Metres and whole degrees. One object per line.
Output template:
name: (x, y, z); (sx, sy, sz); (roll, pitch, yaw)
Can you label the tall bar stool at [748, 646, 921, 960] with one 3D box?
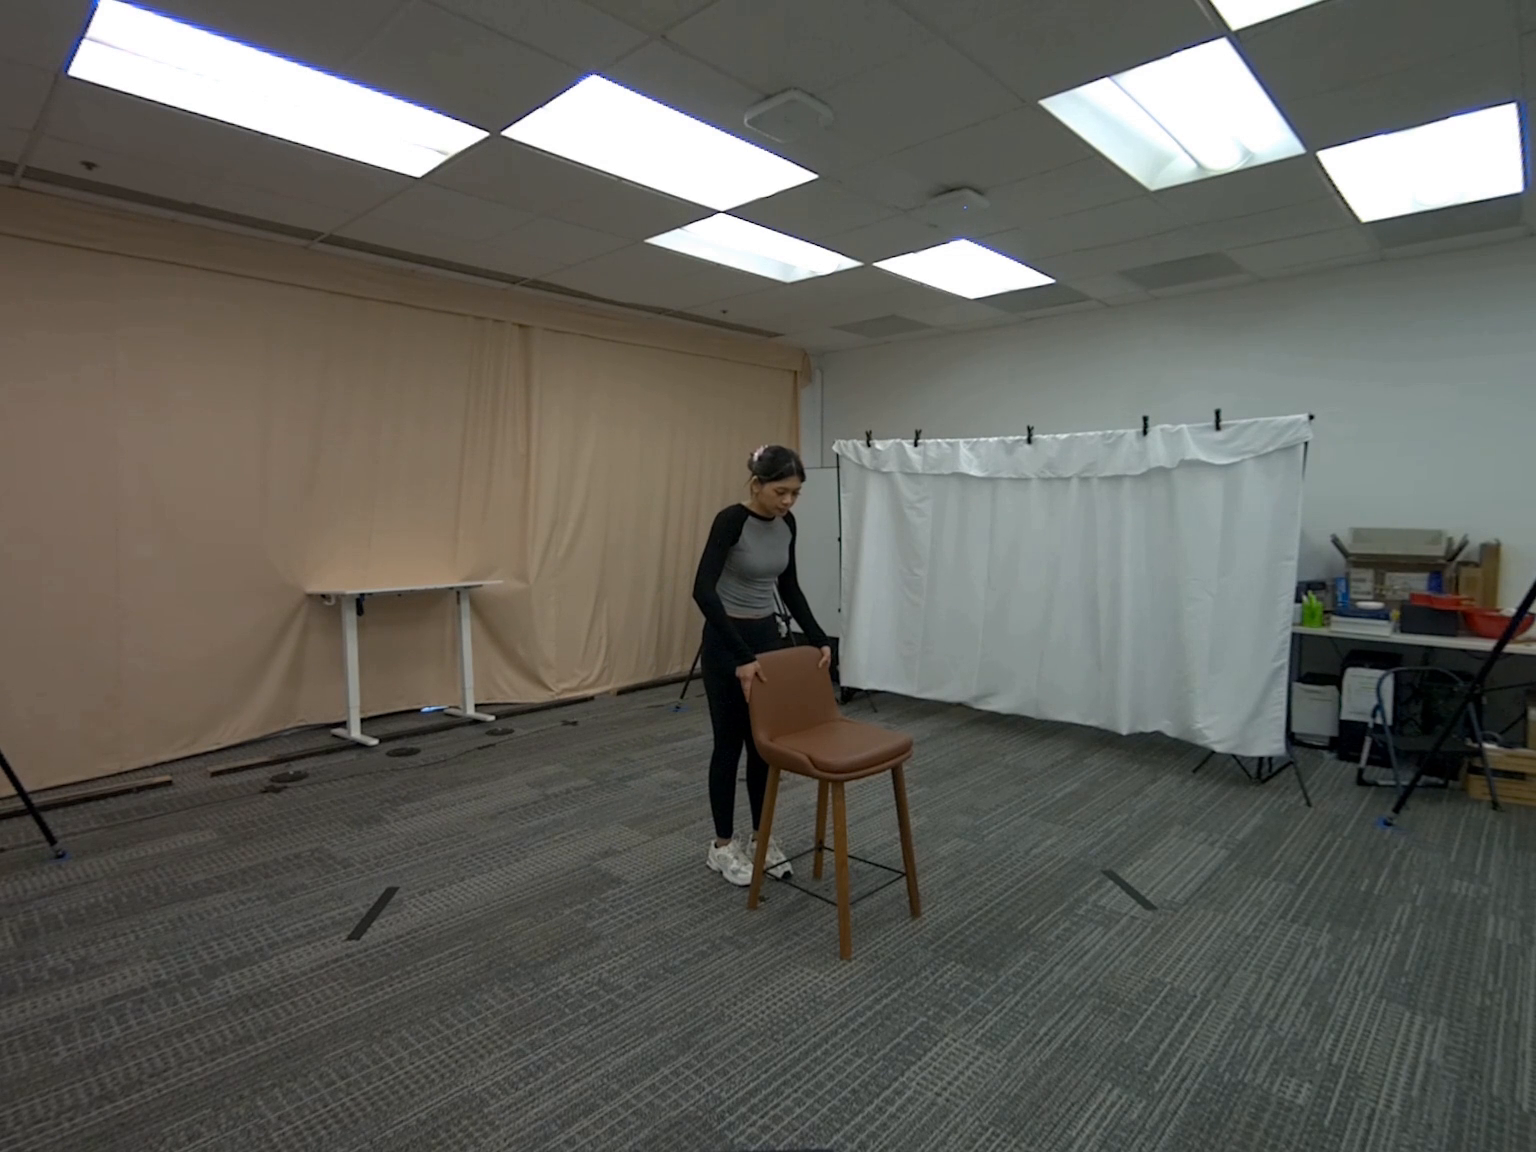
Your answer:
tall bar stool: (0.217, 0.719, 2.857); (0.442, 0.888, 0.483); (-4, 3, -44)
